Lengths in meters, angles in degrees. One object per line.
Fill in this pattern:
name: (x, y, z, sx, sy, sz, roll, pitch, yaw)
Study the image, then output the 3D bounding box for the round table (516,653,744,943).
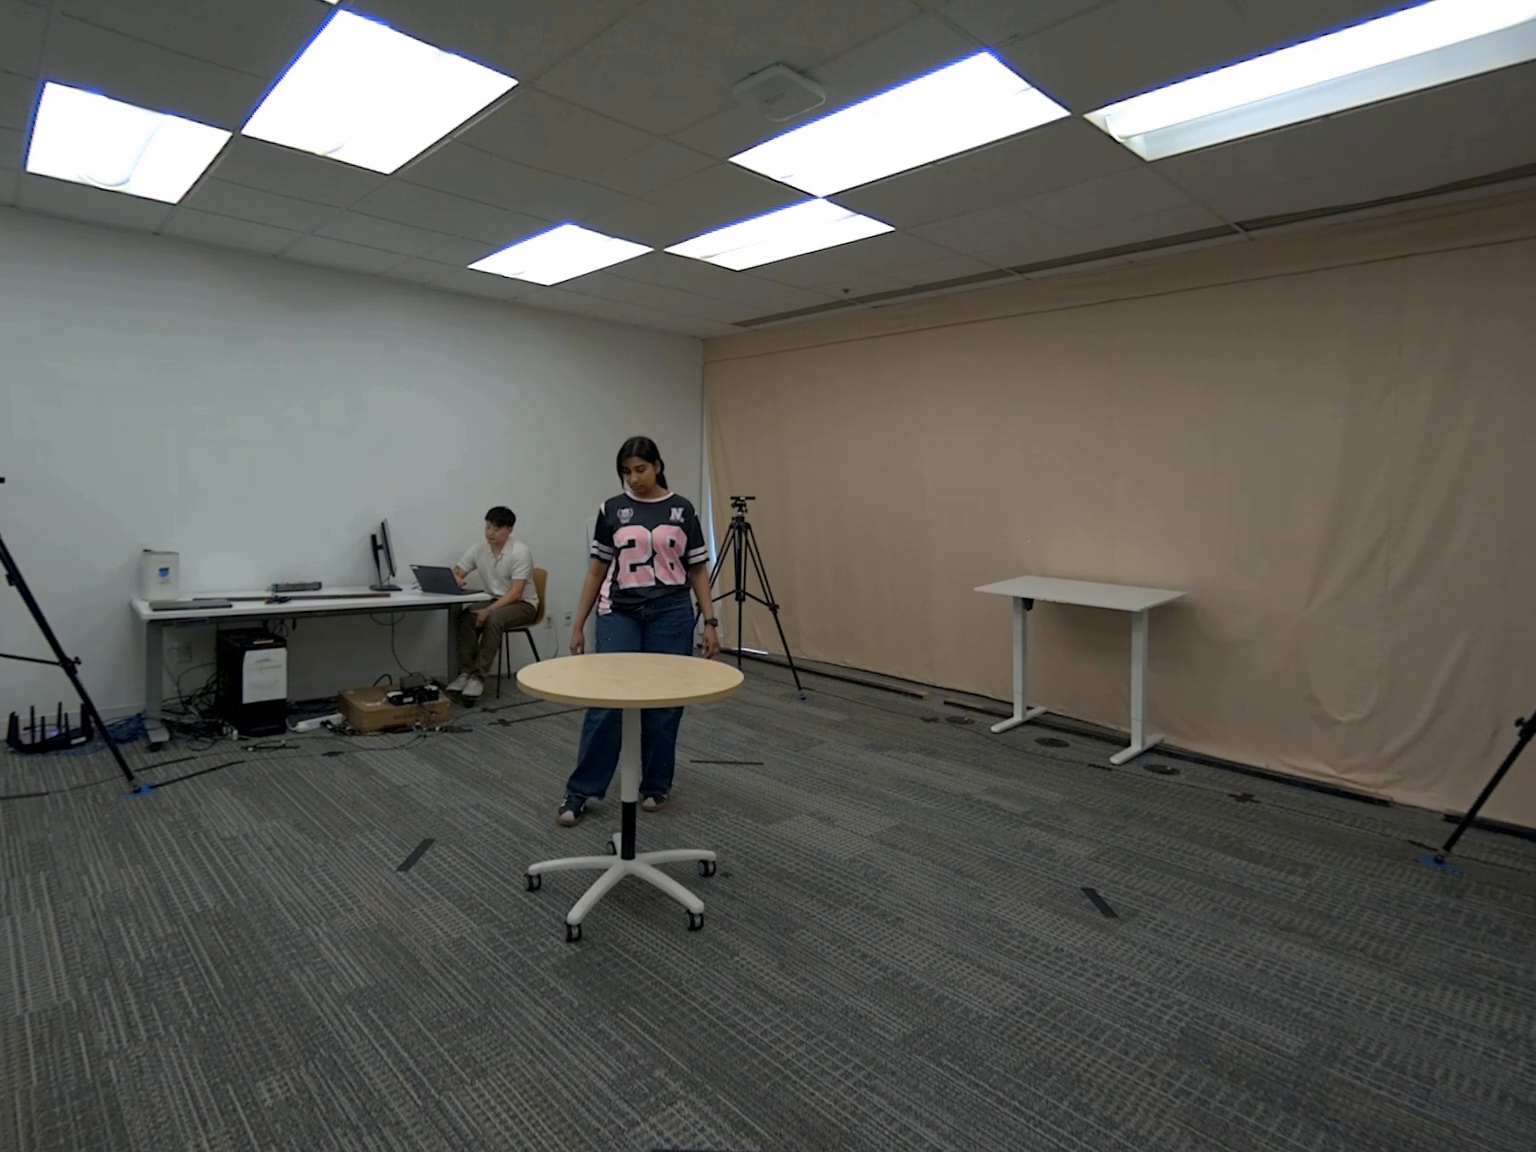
round table: (-0.493, 0.729, 2.896, 0.763, 0.792, 0.767, 2, 4, -1)
